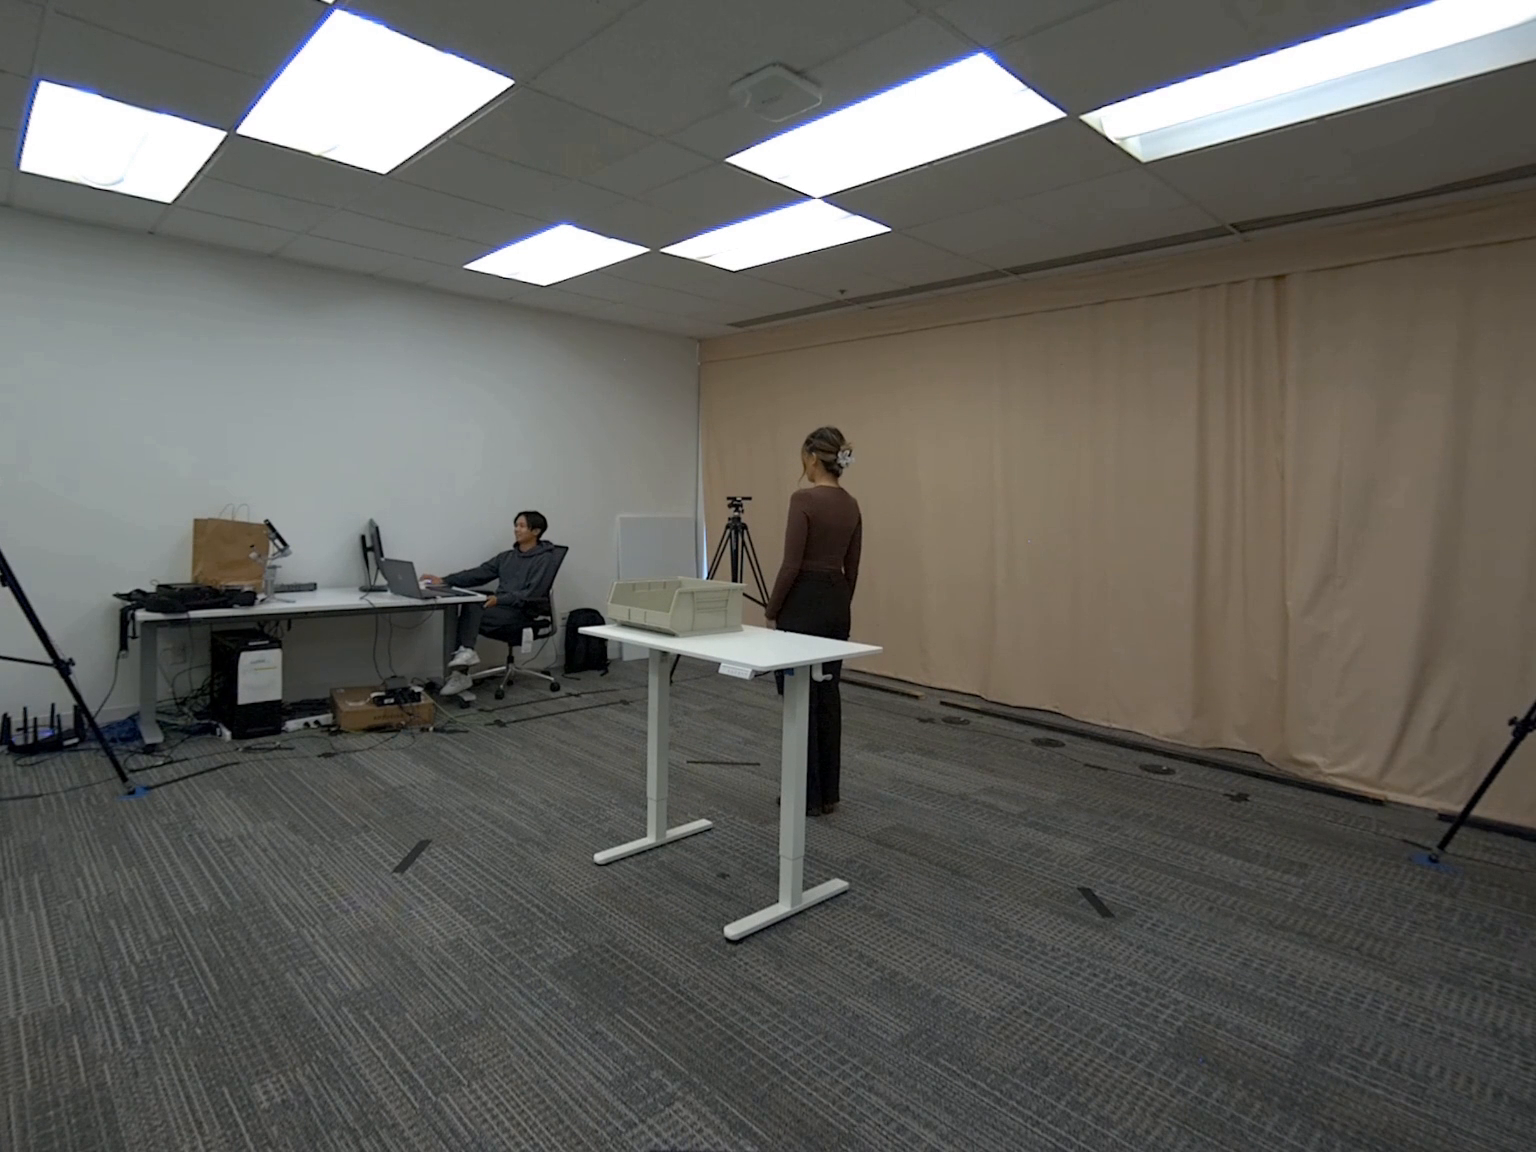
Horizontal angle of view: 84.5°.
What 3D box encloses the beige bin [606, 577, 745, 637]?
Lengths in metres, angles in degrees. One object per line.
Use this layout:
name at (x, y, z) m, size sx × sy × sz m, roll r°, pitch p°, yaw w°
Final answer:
beige bin at (-0.368, 0.119, 3.281) m, size 0.368 × 0.189 × 0.433 m, roll -1°, pitch 3°, yaw -44°
